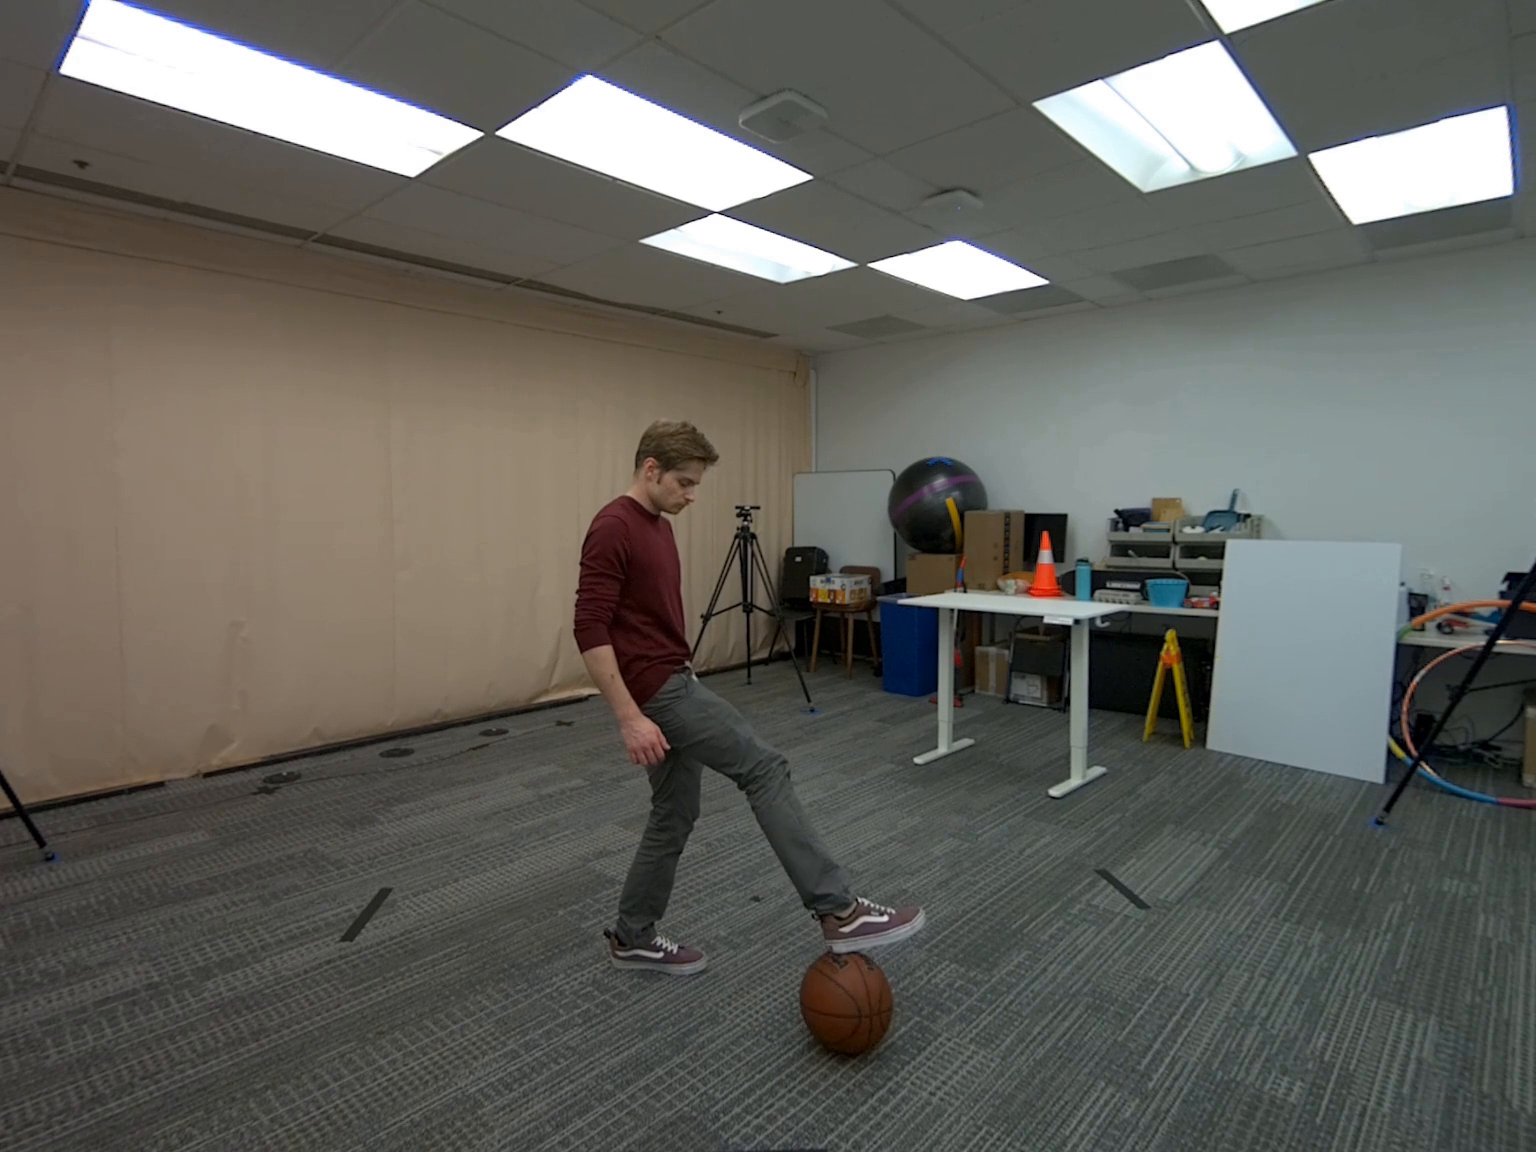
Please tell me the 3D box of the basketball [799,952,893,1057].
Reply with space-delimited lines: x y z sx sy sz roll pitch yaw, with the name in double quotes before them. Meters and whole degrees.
"basketball" 0.205 1.094 2.164 0.236 0.235 0.237 0 4 -2
